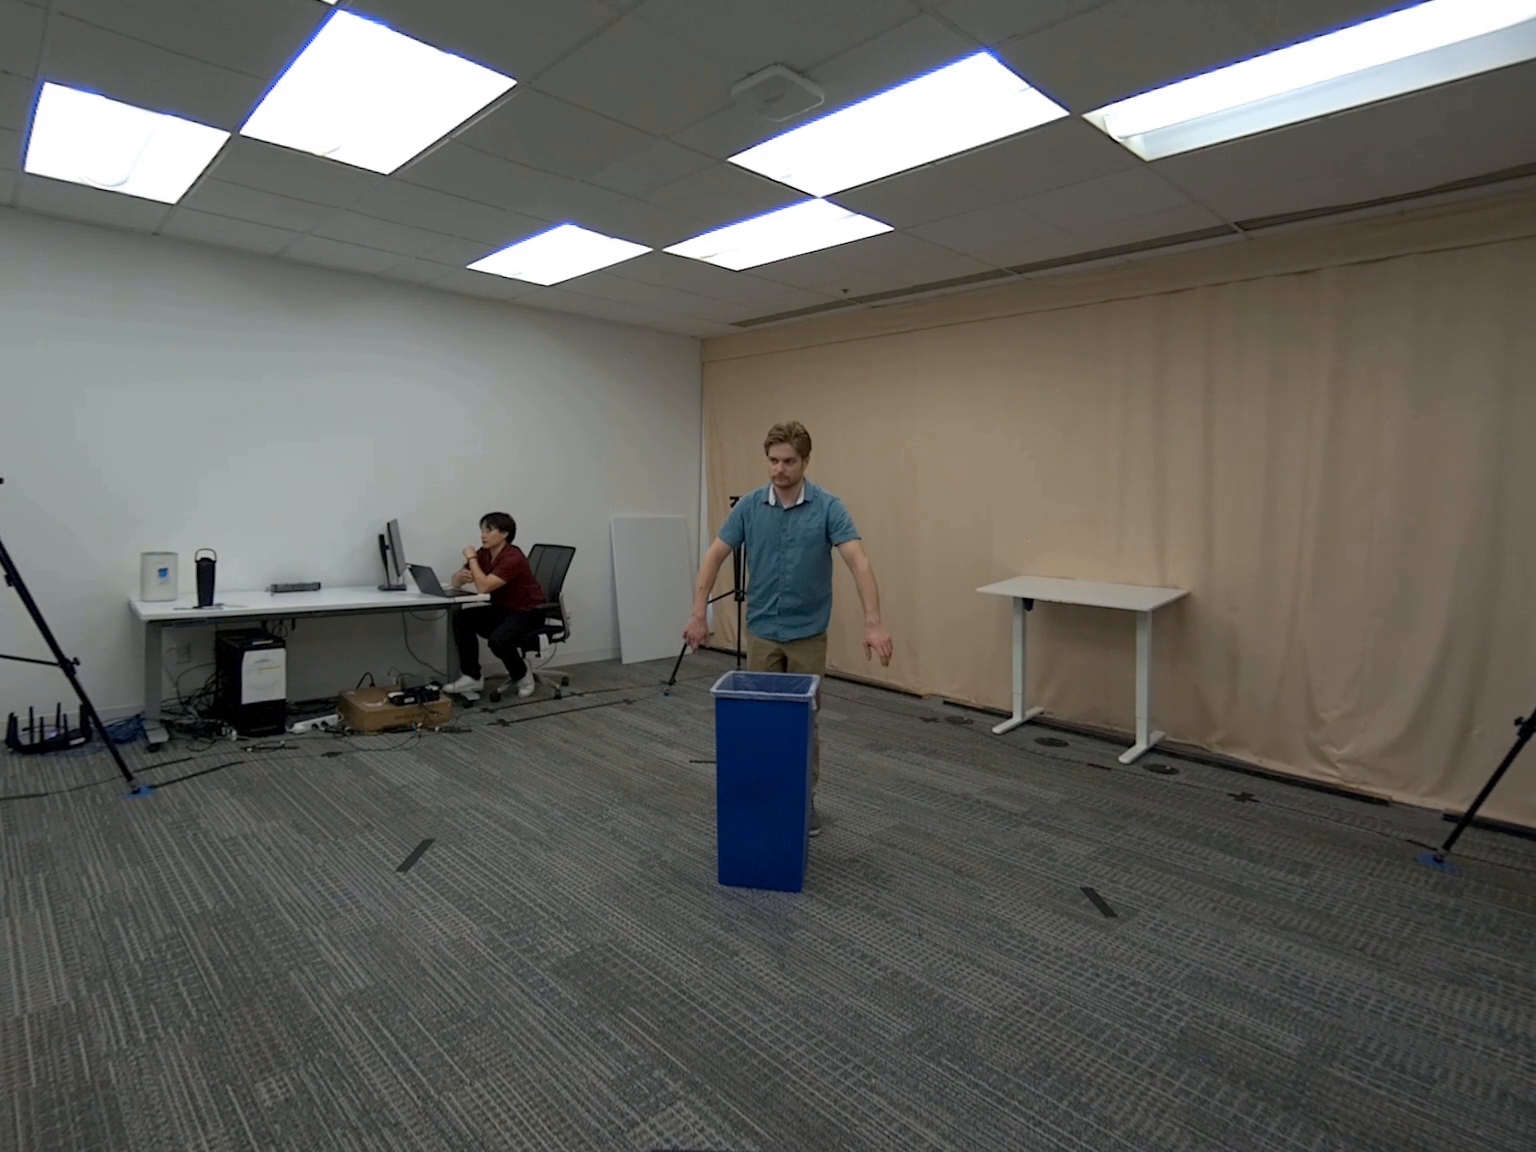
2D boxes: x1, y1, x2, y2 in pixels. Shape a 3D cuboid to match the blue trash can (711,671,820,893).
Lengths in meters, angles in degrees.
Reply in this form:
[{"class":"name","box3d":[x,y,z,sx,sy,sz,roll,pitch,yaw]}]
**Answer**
[{"class":"blue trash can","box3d":[-0.021,0.747,3.135,0.381,0.711,0.372,1,4,8]}]
